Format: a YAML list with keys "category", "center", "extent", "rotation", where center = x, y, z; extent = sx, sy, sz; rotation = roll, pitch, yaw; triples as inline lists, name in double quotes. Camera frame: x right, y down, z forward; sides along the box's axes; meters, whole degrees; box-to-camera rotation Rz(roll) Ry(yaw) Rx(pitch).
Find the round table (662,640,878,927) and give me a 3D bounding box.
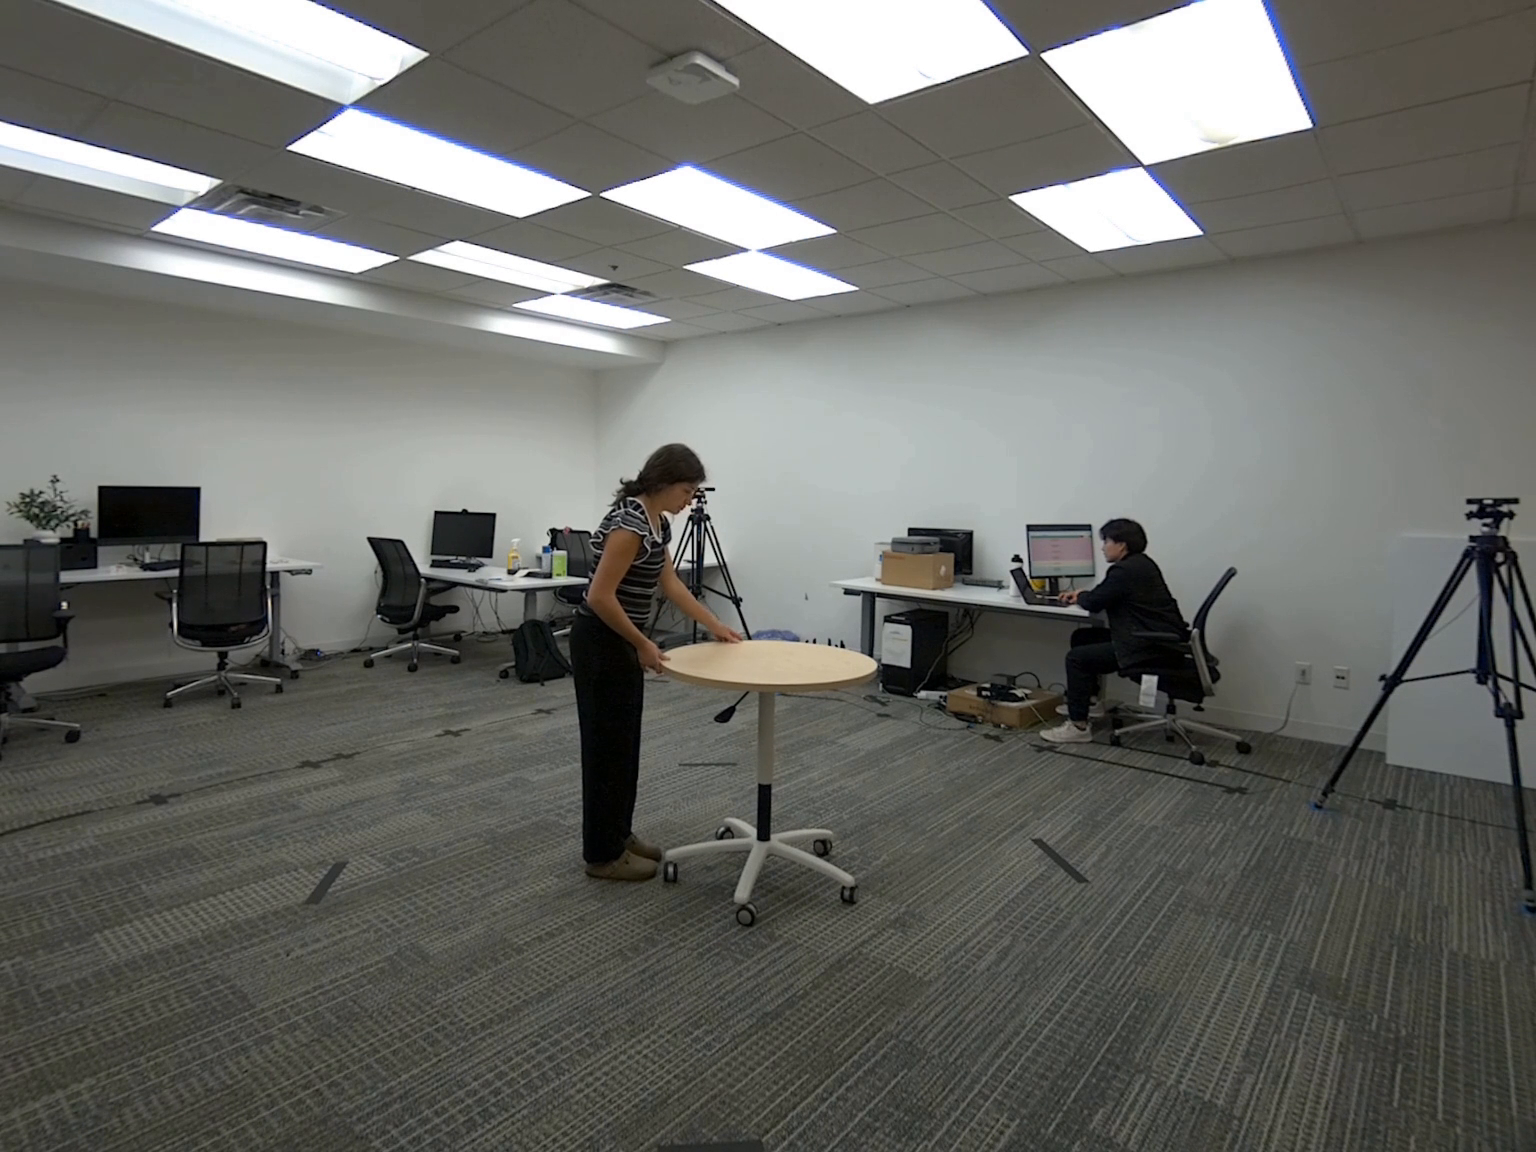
- category: "round table"
  center: [-0.018, 0.685, 3.037]
  extent: [0.784, 0.784, 0.789]
  rotation: [1, 5, -2]
